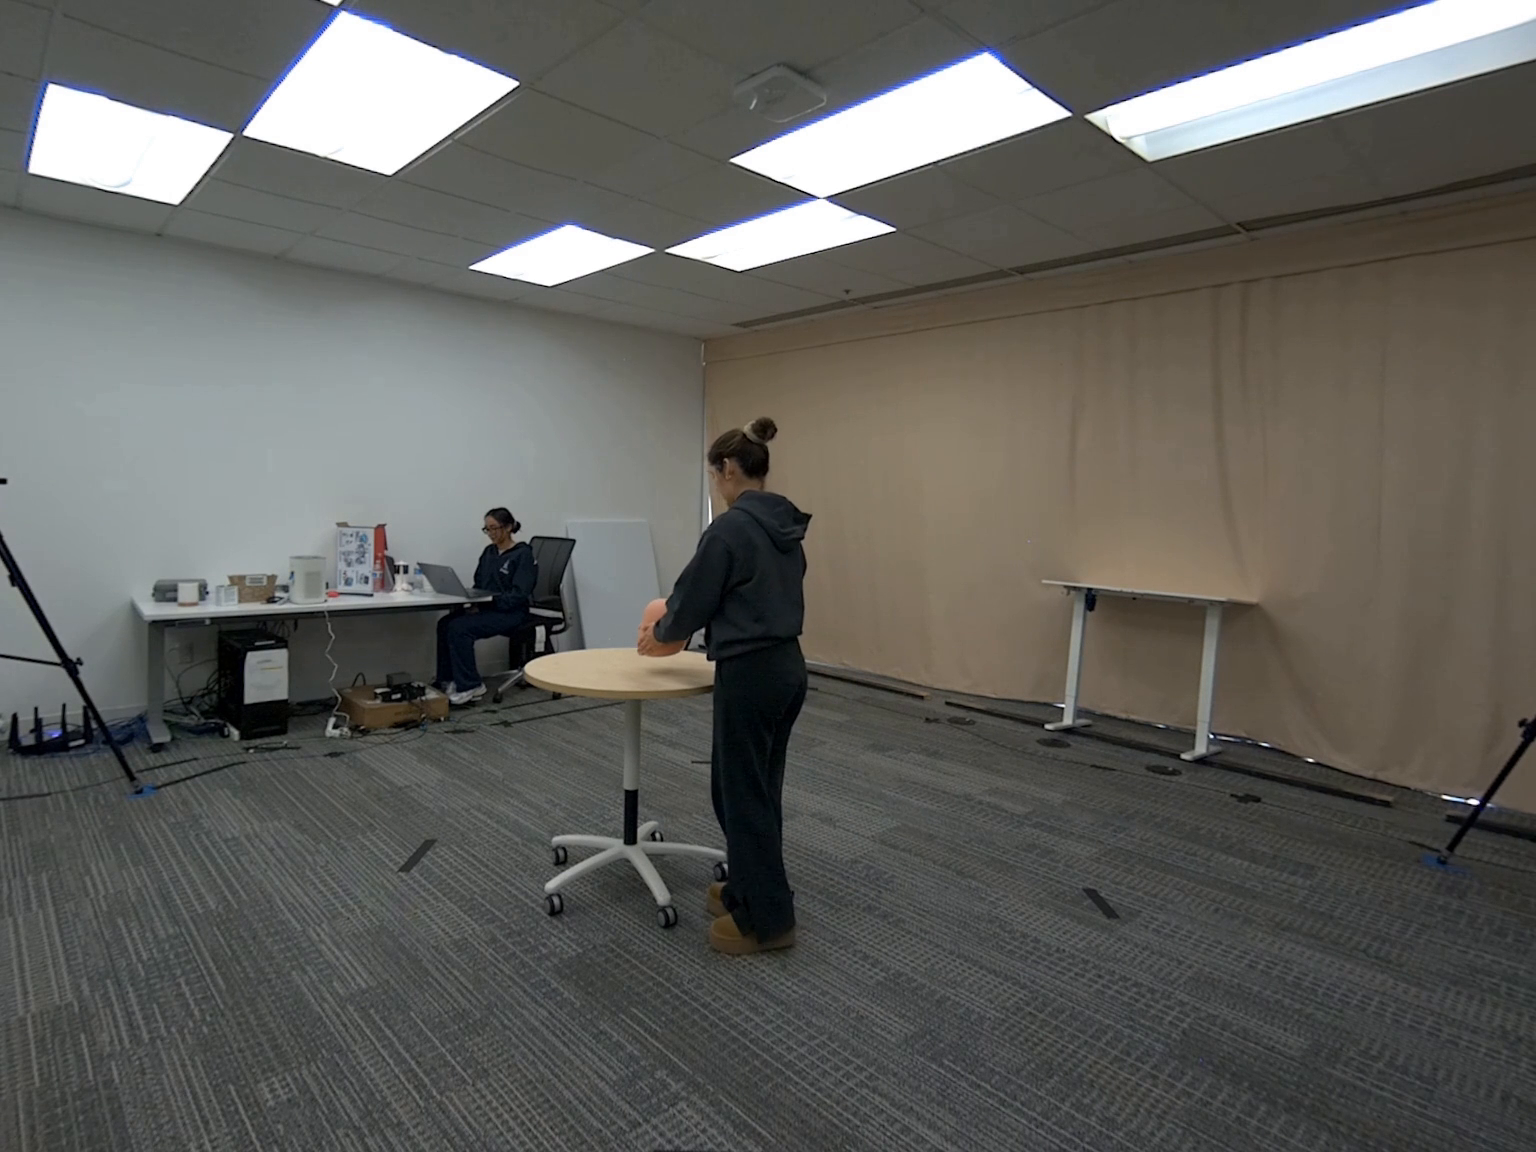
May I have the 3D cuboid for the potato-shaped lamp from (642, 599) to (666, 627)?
[{"bbox_3d":[-0.375,0.181,2.929,0.175,0.197,0.161,0,5,36],"label":"potato-shaped lamp"}]
